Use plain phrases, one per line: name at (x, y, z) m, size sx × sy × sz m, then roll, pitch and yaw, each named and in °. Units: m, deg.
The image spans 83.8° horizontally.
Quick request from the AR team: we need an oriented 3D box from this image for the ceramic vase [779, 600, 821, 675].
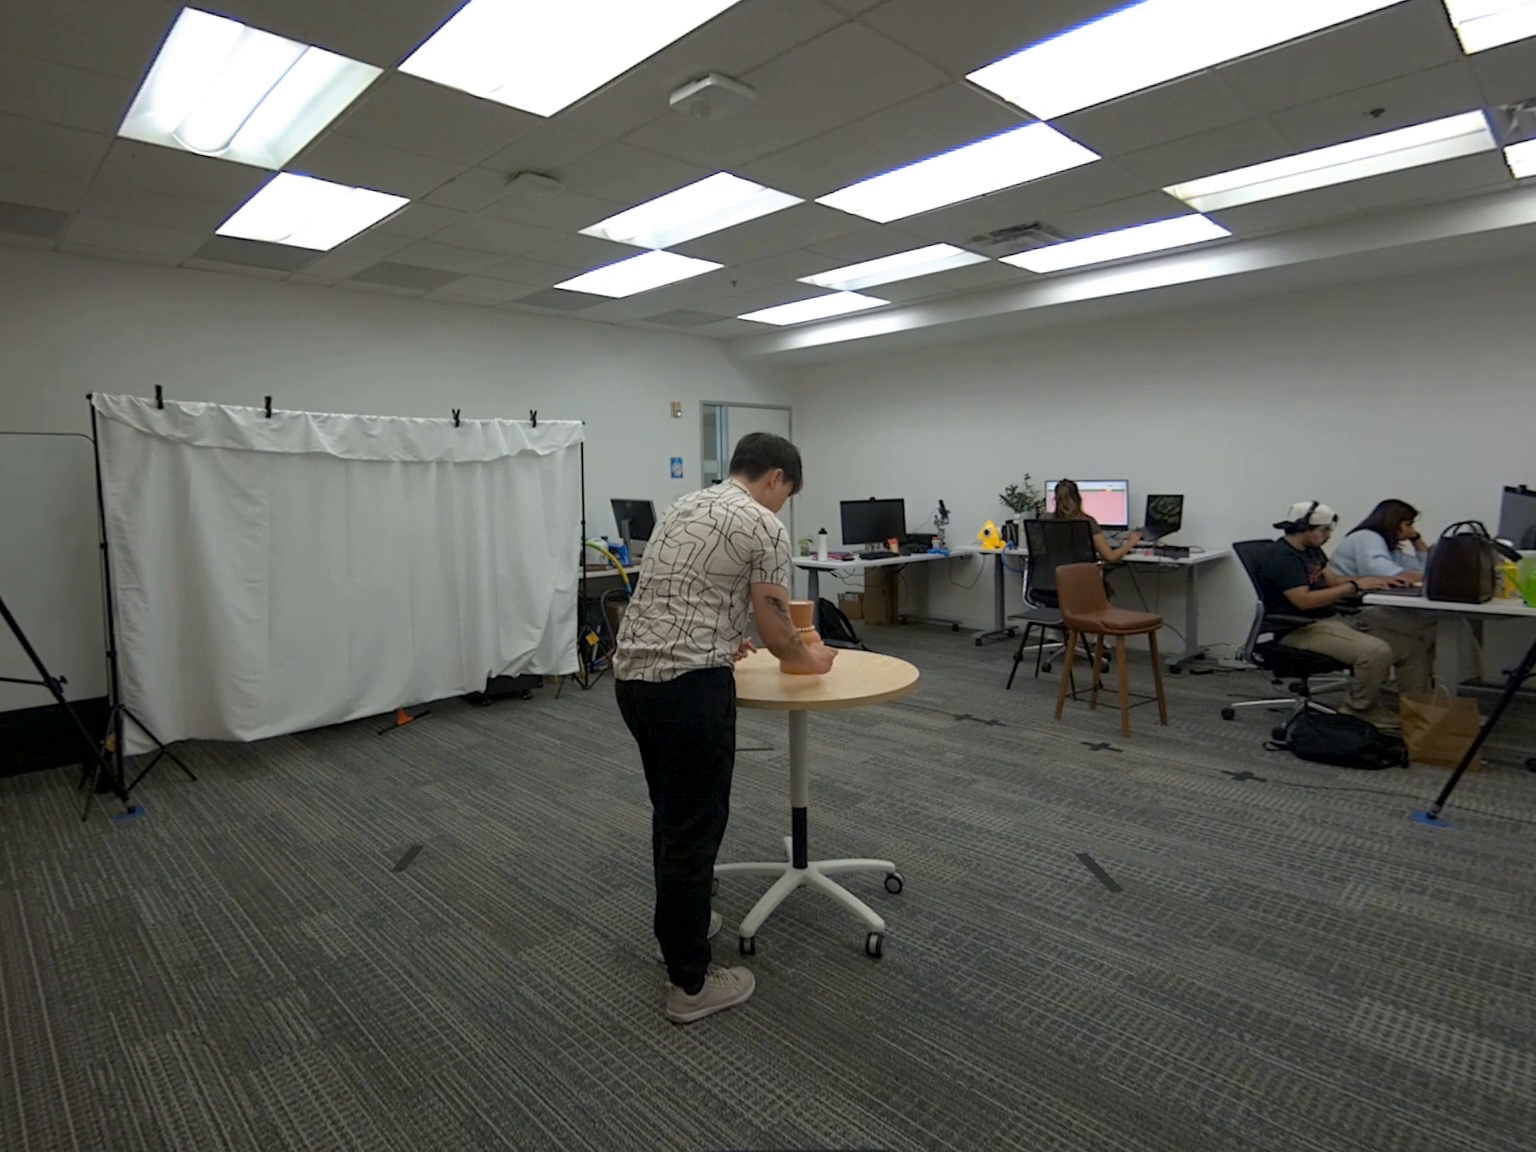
ceramic vase at (0.104, 0.194, 2.740) m, size 0.161 × 0.219 × 0.133 m, roll 1°, pitch 4°, yaw 11°
